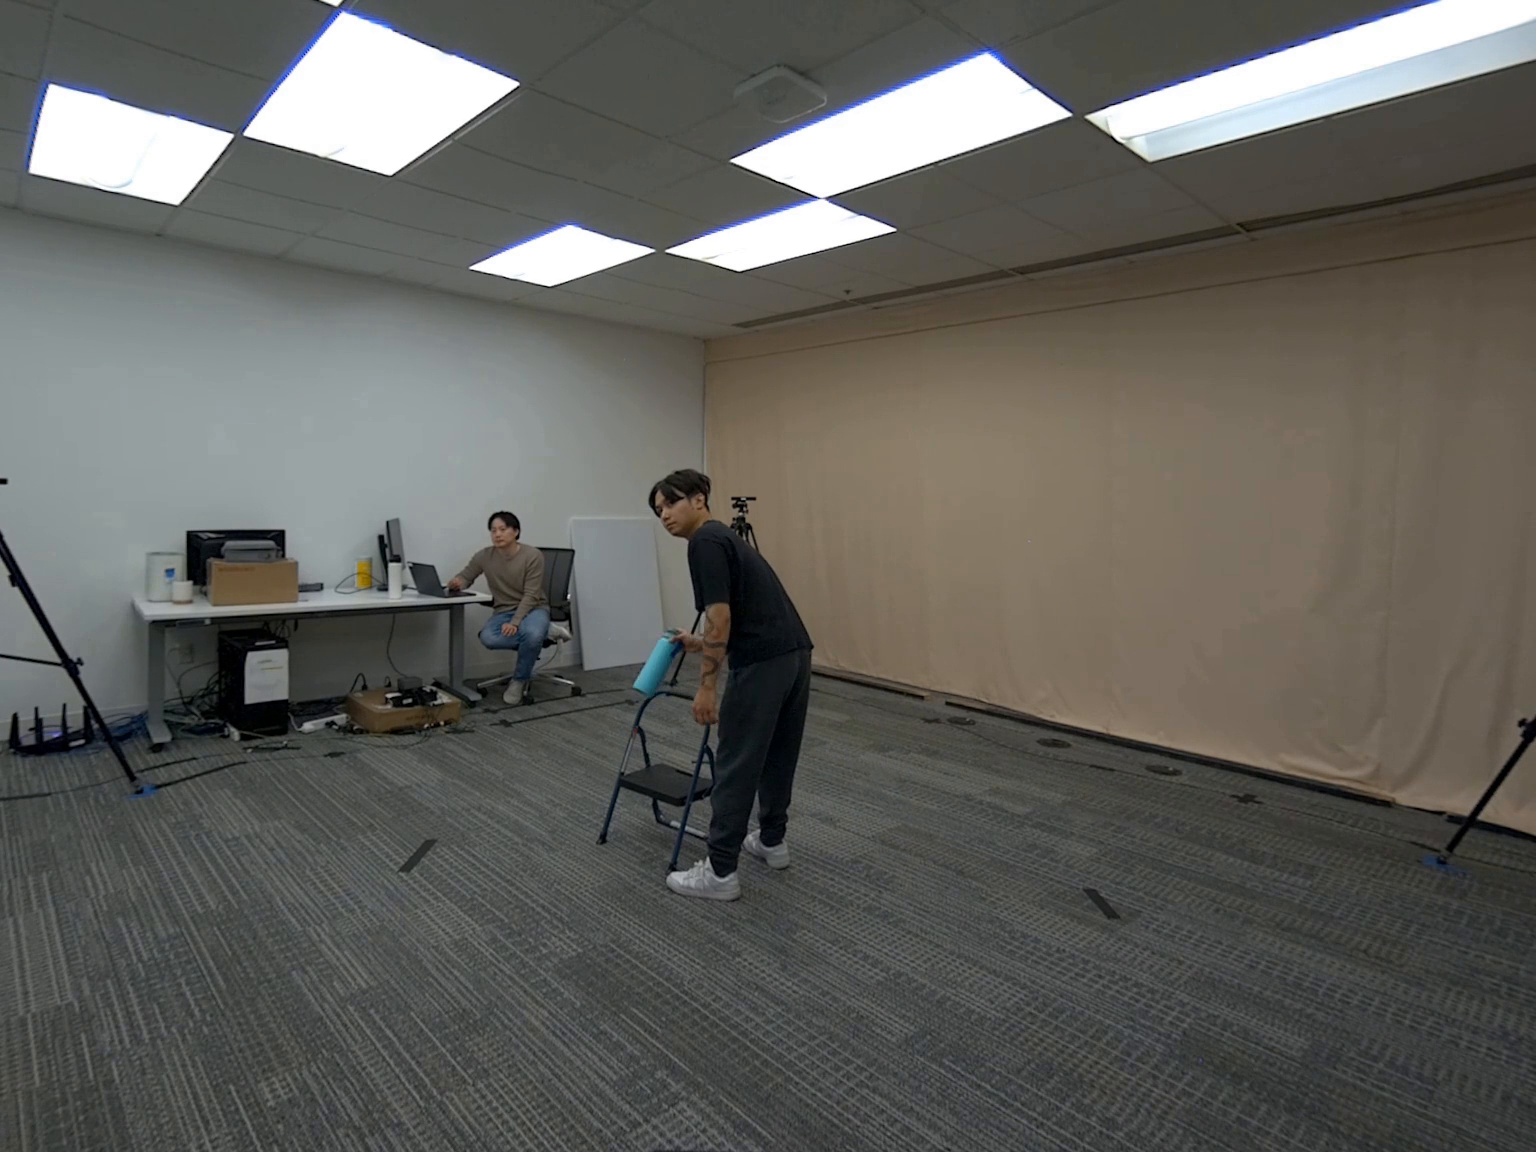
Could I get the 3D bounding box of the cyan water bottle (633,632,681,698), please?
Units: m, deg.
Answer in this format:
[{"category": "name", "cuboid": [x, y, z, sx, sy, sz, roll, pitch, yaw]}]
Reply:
[{"category": "cyan water bottle", "cuboid": [-0.422, 0.346, 3.324, 0.093, 0.285, 0.091, 25, -18, 7]}]
